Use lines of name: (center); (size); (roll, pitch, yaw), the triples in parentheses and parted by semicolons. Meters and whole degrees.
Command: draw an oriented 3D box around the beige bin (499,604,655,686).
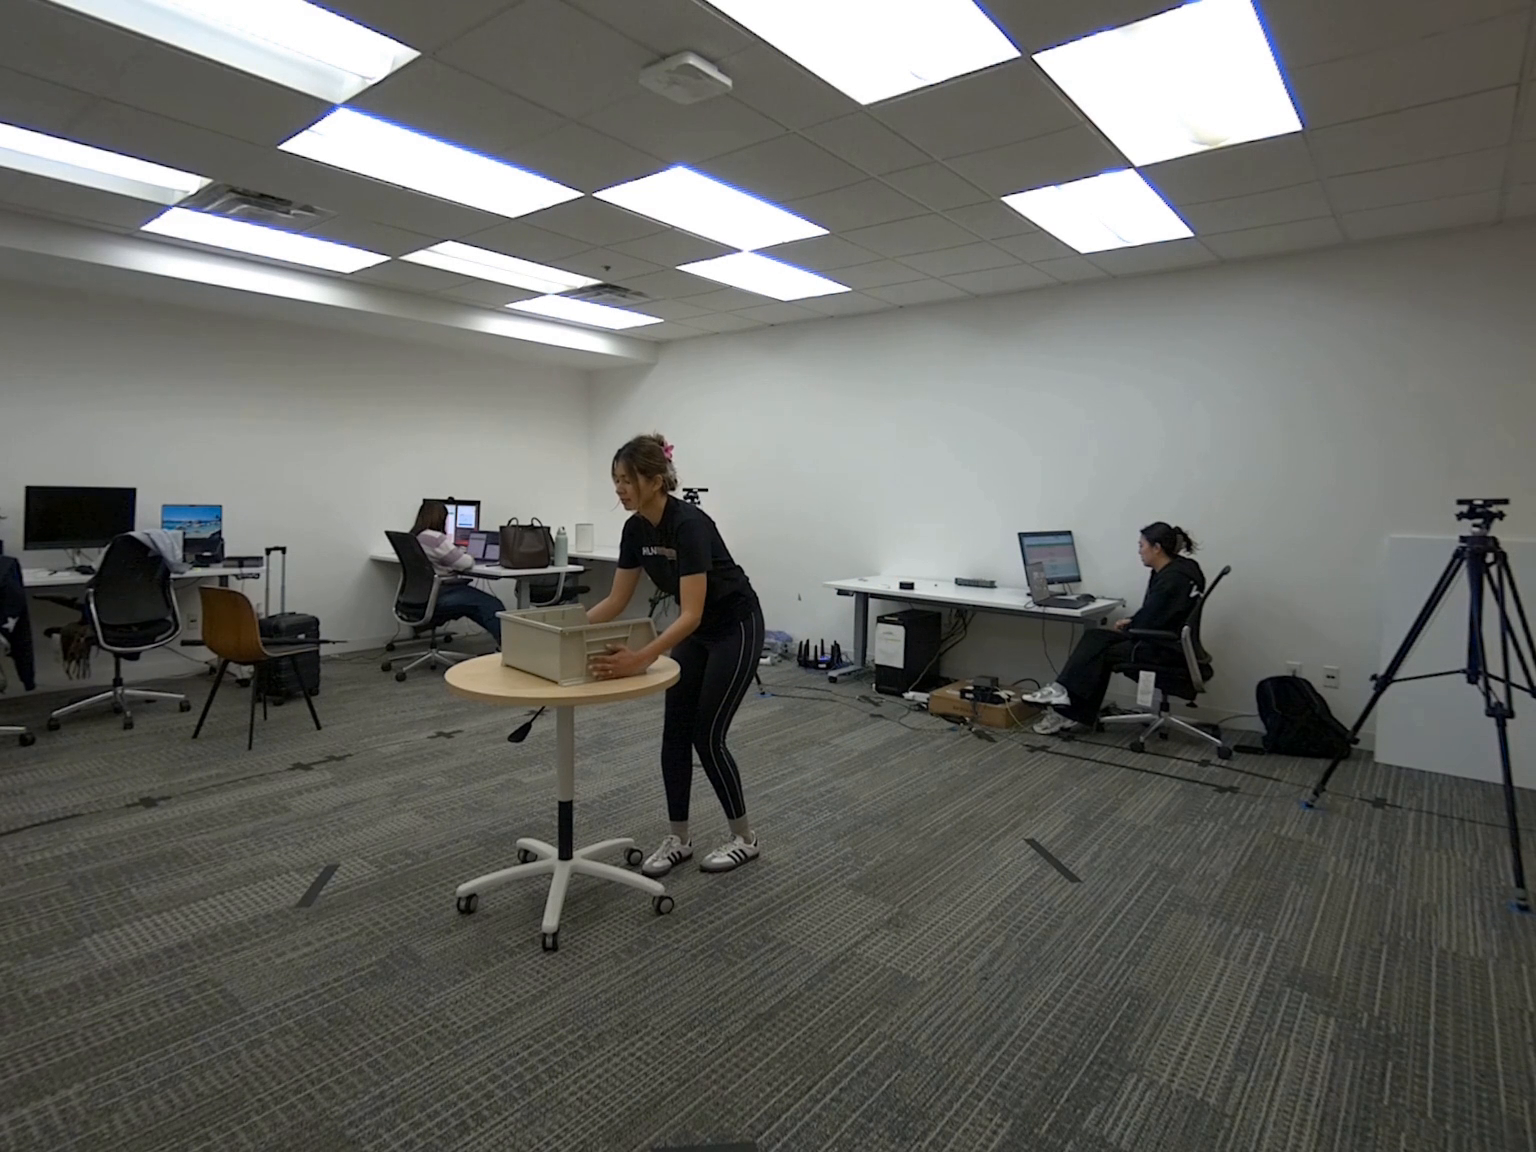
beige bin: (-0.661, 0.220, 2.828); (0.366, 0.188, 0.437); (-7, 10, -43)
